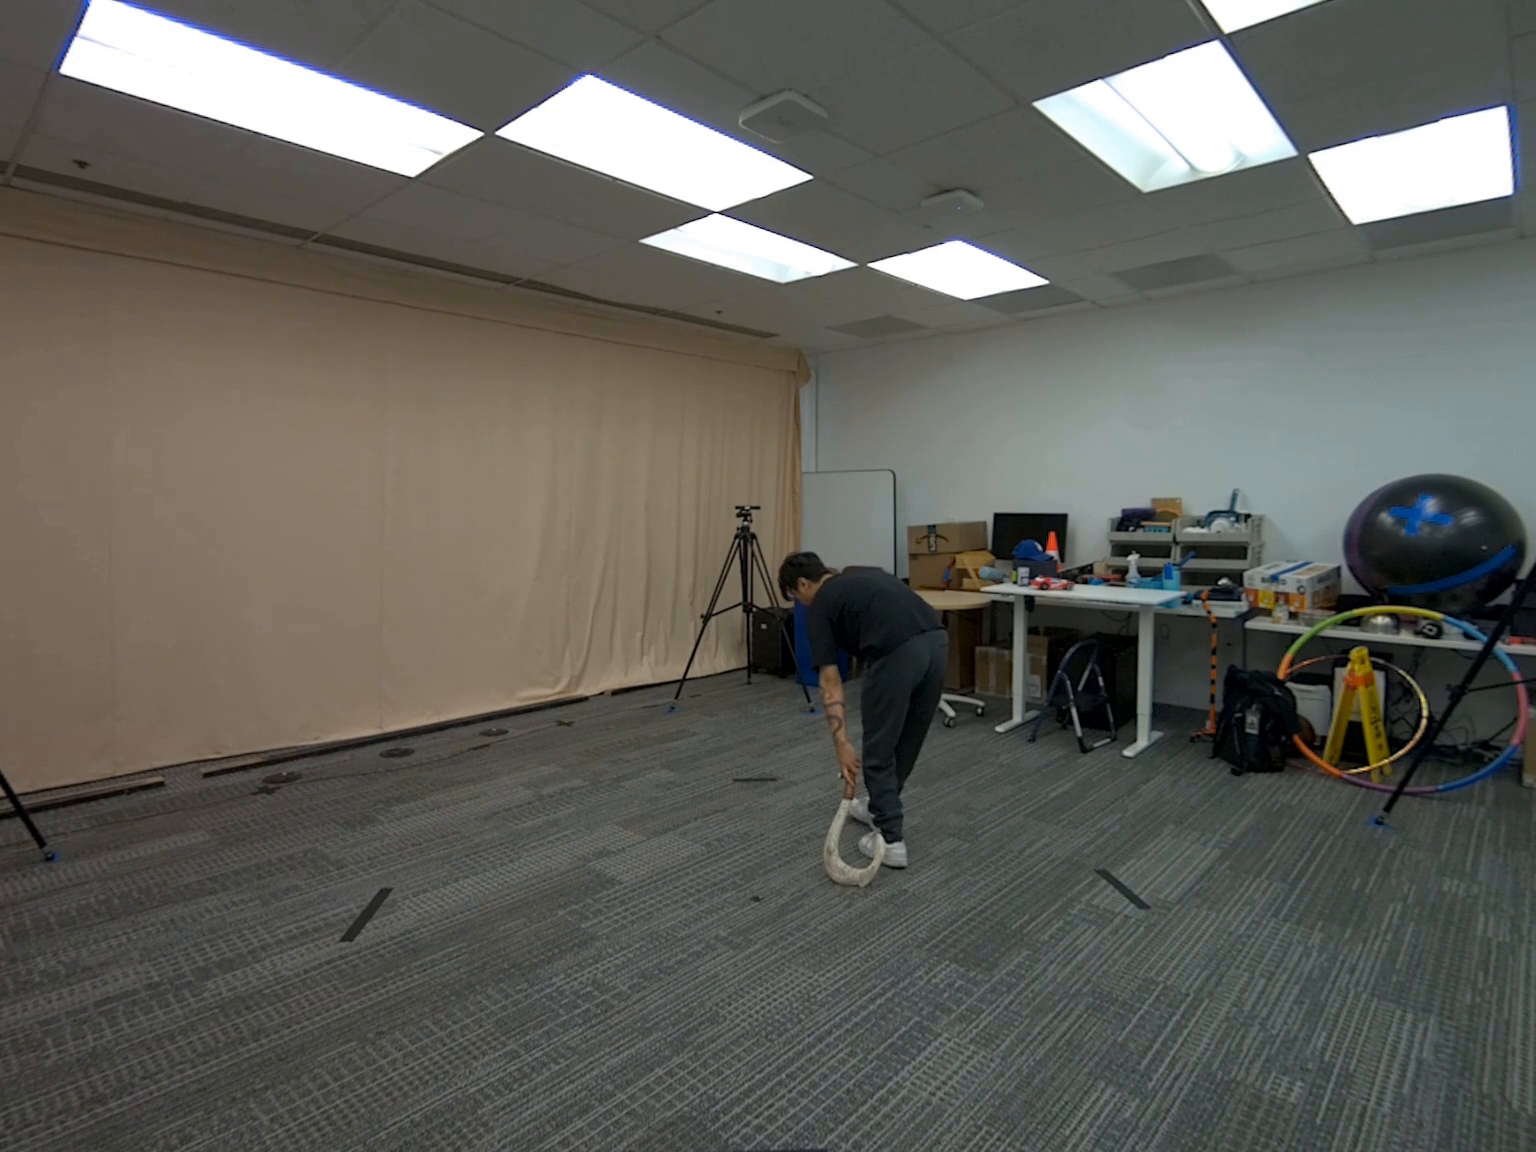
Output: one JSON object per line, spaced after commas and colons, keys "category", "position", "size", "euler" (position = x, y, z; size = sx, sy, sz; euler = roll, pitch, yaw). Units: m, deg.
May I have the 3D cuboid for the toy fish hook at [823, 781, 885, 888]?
{"category": "toy fish hook", "position": [0.348, 0.911, 3.192], "size": [0.229, 0.512, 0.047], "euler": [1, -27, 16]}
